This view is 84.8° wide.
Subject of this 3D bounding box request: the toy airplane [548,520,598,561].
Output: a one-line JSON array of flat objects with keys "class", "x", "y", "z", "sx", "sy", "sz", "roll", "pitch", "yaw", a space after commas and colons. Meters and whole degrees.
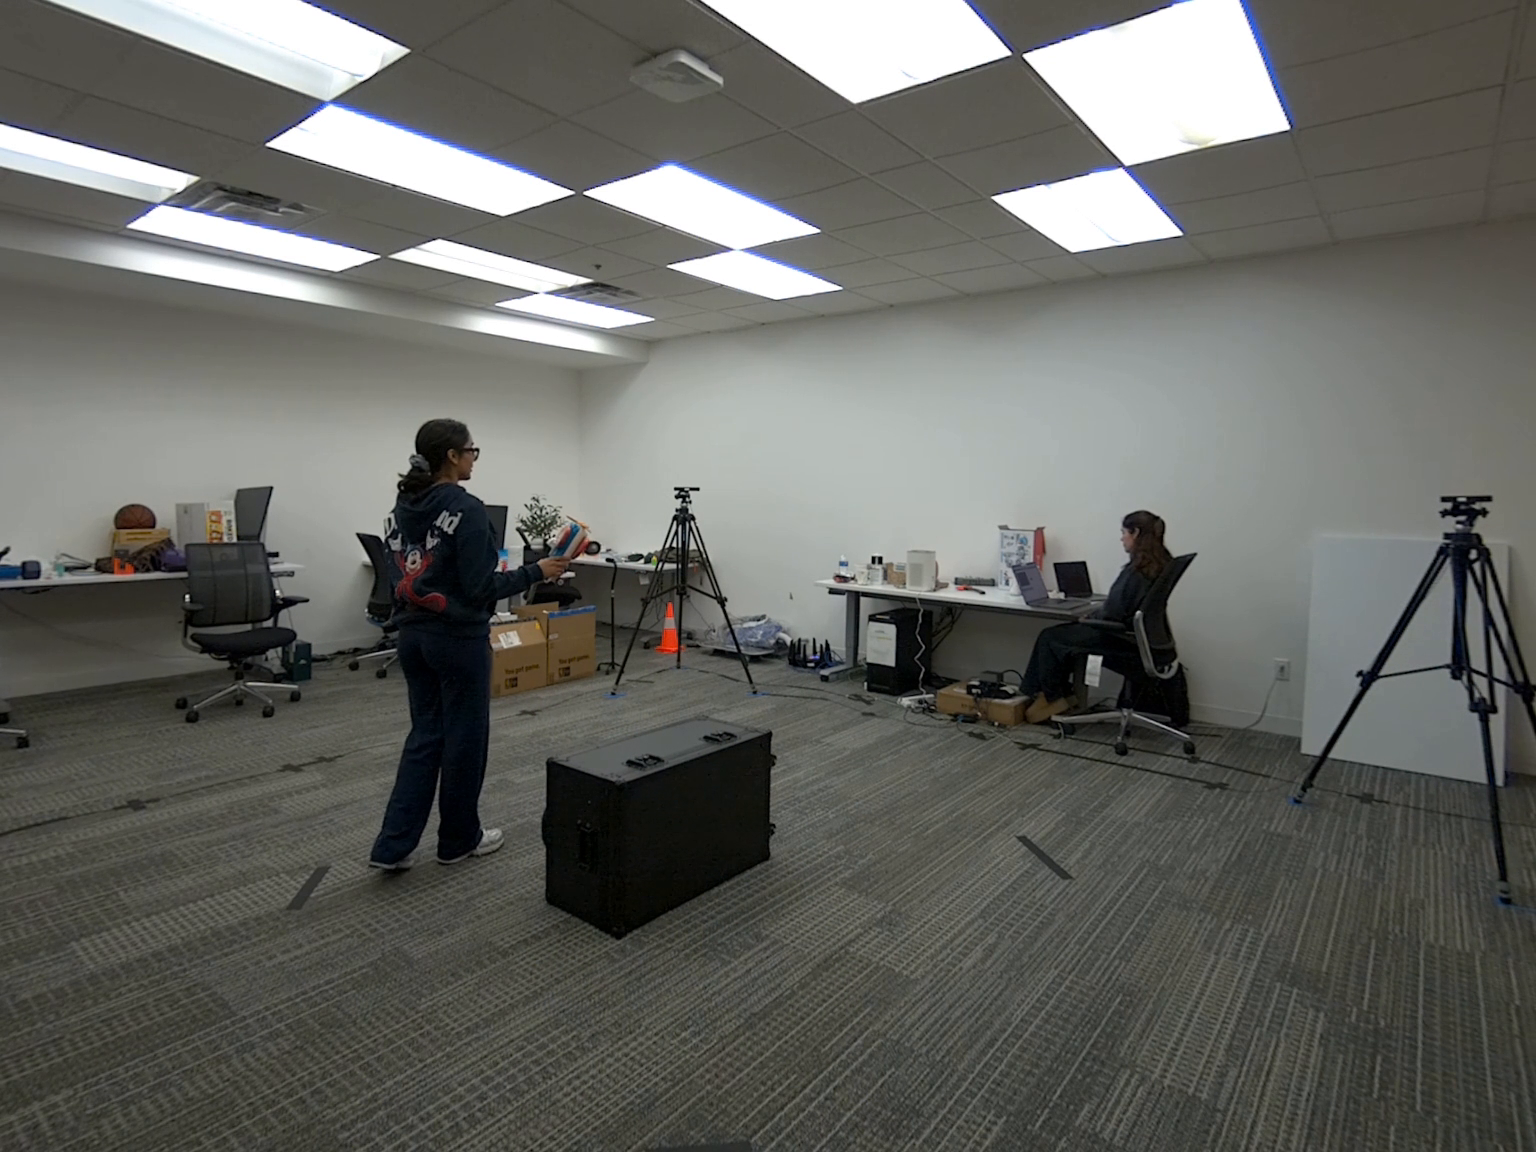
[{"class": "toy airplane", "x": -0.765, "y": -0.081, "z": 3.196, "sx": 0.254, "sy": 0.154, "sz": 0.260, "roll": -27, "pitch": 21, "yaw": 50}]
